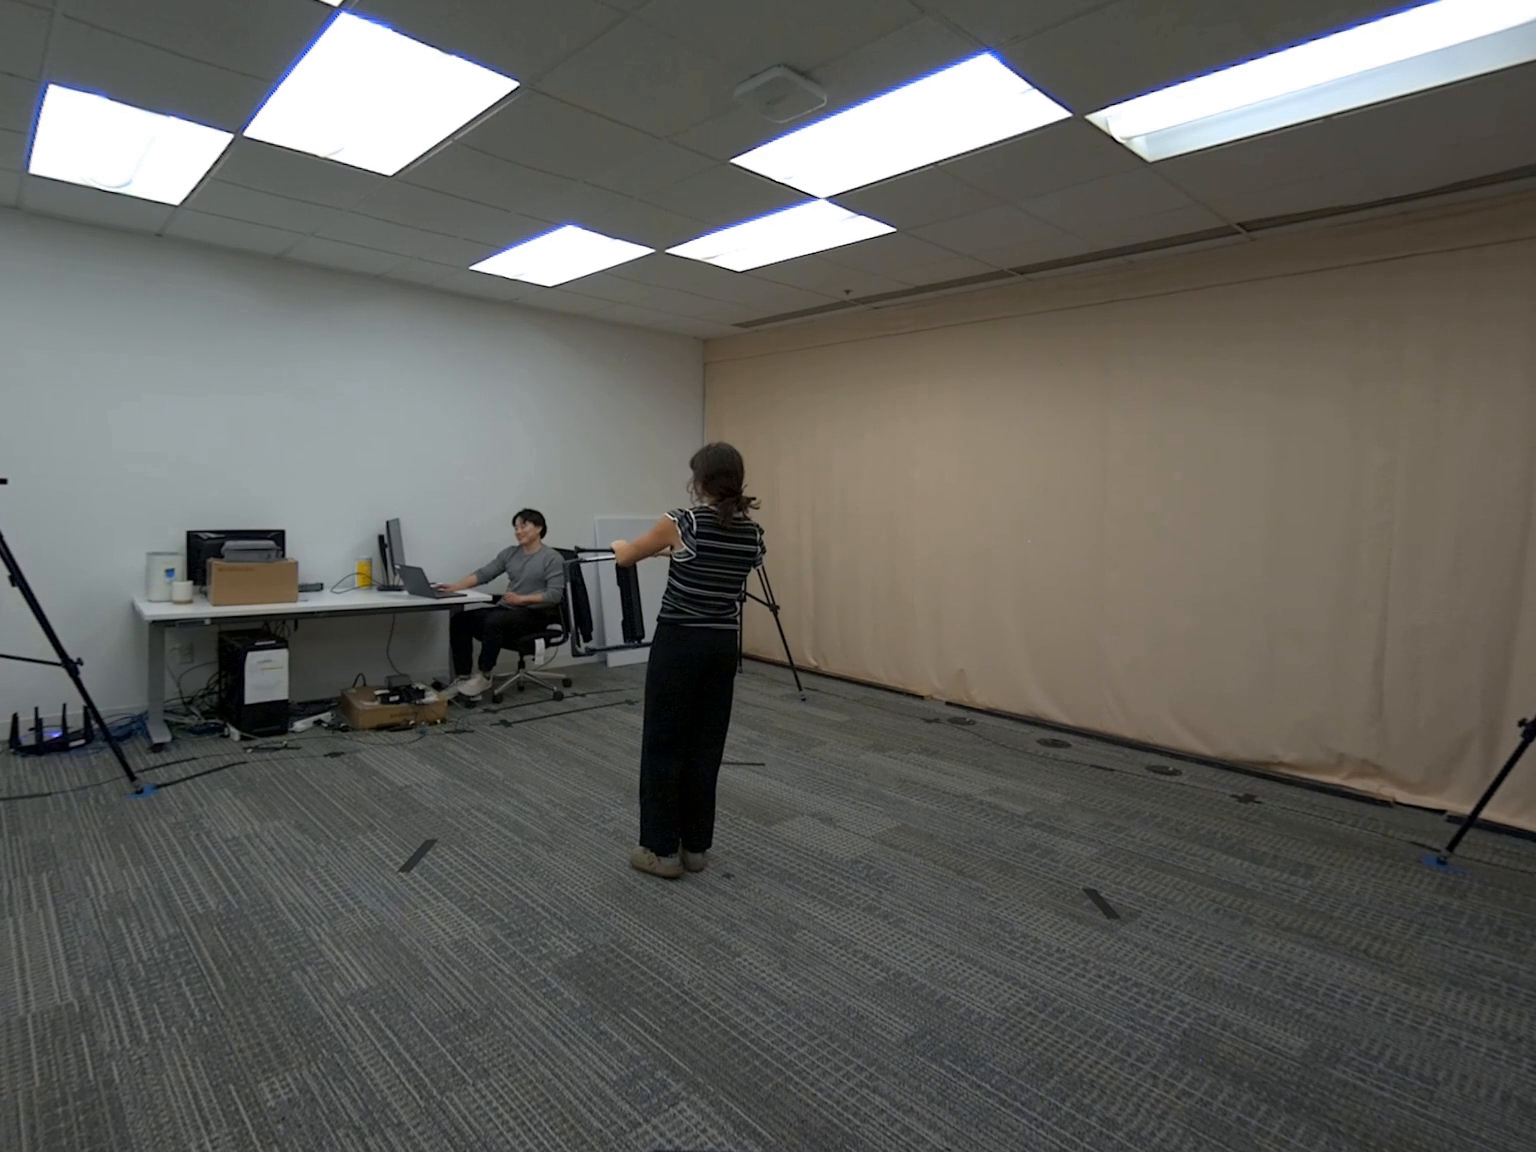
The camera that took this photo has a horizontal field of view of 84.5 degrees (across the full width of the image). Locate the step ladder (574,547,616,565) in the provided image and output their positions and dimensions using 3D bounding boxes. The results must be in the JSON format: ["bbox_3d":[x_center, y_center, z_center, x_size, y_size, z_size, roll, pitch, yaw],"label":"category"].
[{"bbox_3d":[-0.524,0.086,3.532,0.597,0.434,0.352,-4,-9,-21],"label":"step ladder"}]
